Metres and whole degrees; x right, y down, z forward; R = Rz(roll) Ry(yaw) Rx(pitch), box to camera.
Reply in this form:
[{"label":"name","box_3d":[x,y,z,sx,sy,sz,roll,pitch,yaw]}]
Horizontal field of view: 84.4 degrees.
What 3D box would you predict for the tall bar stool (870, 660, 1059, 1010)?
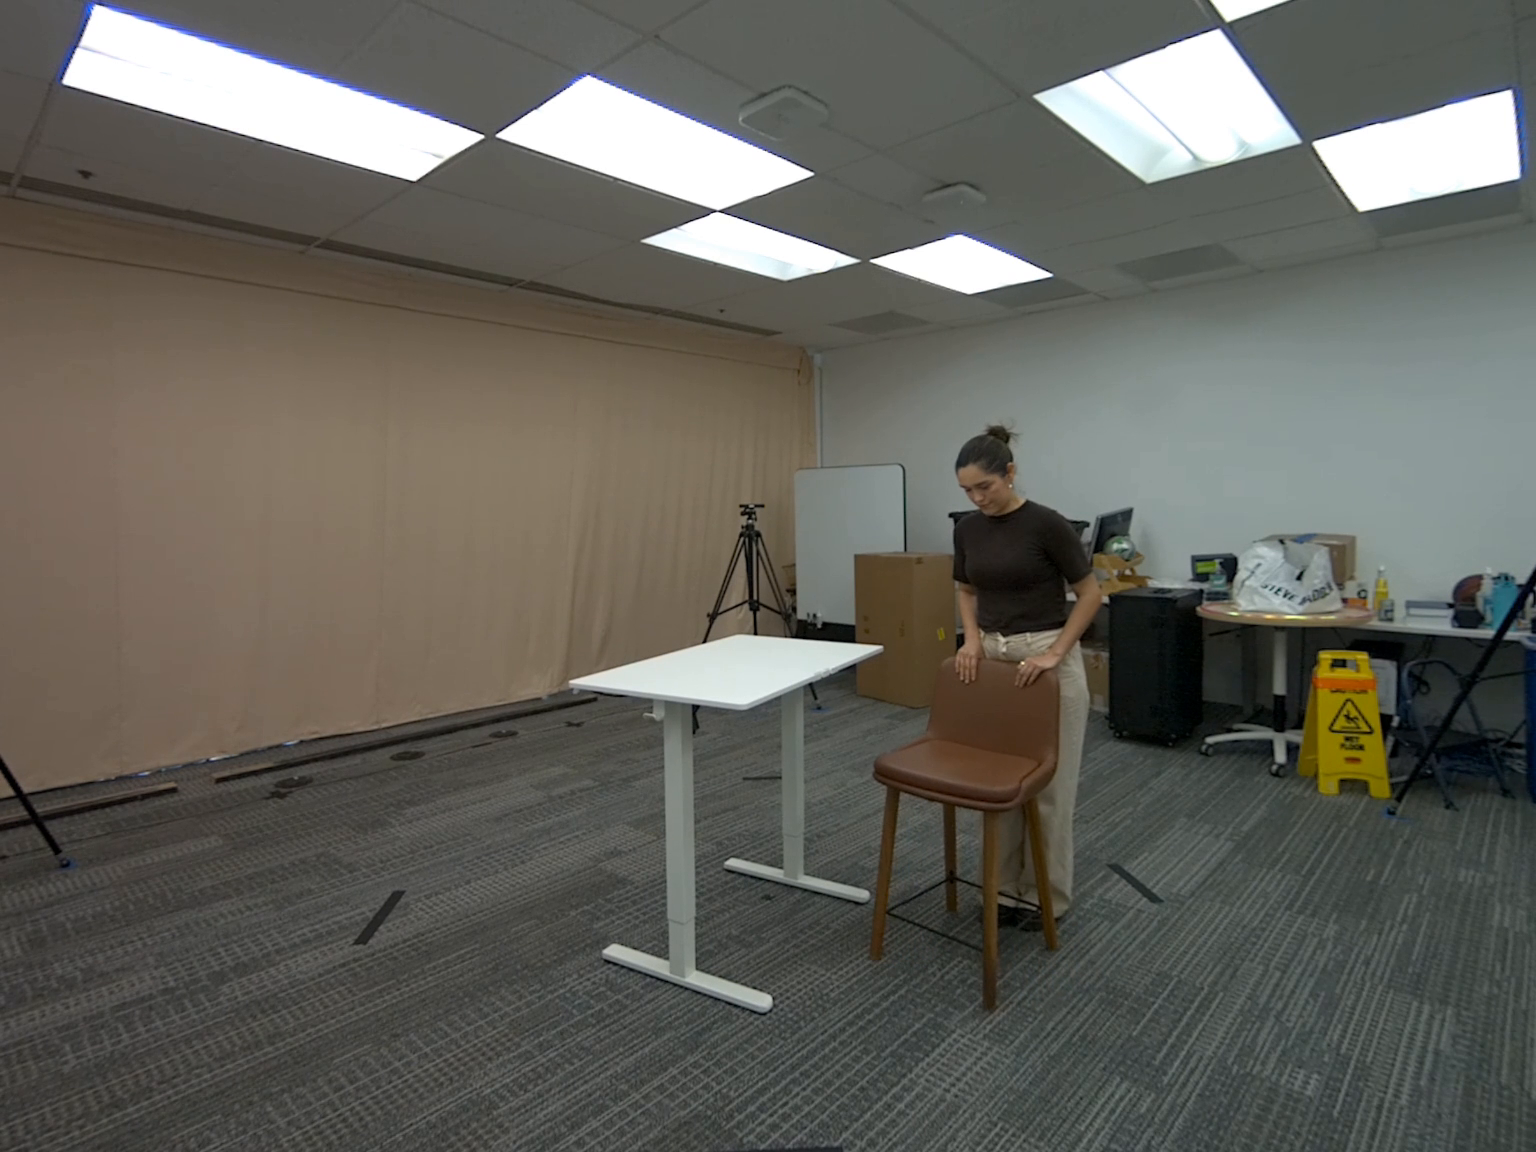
[{"label":"tall bar stool","box_3d":[0.613,0.724,2.566,0.472,0.888,0.453,3,4,44]}]
